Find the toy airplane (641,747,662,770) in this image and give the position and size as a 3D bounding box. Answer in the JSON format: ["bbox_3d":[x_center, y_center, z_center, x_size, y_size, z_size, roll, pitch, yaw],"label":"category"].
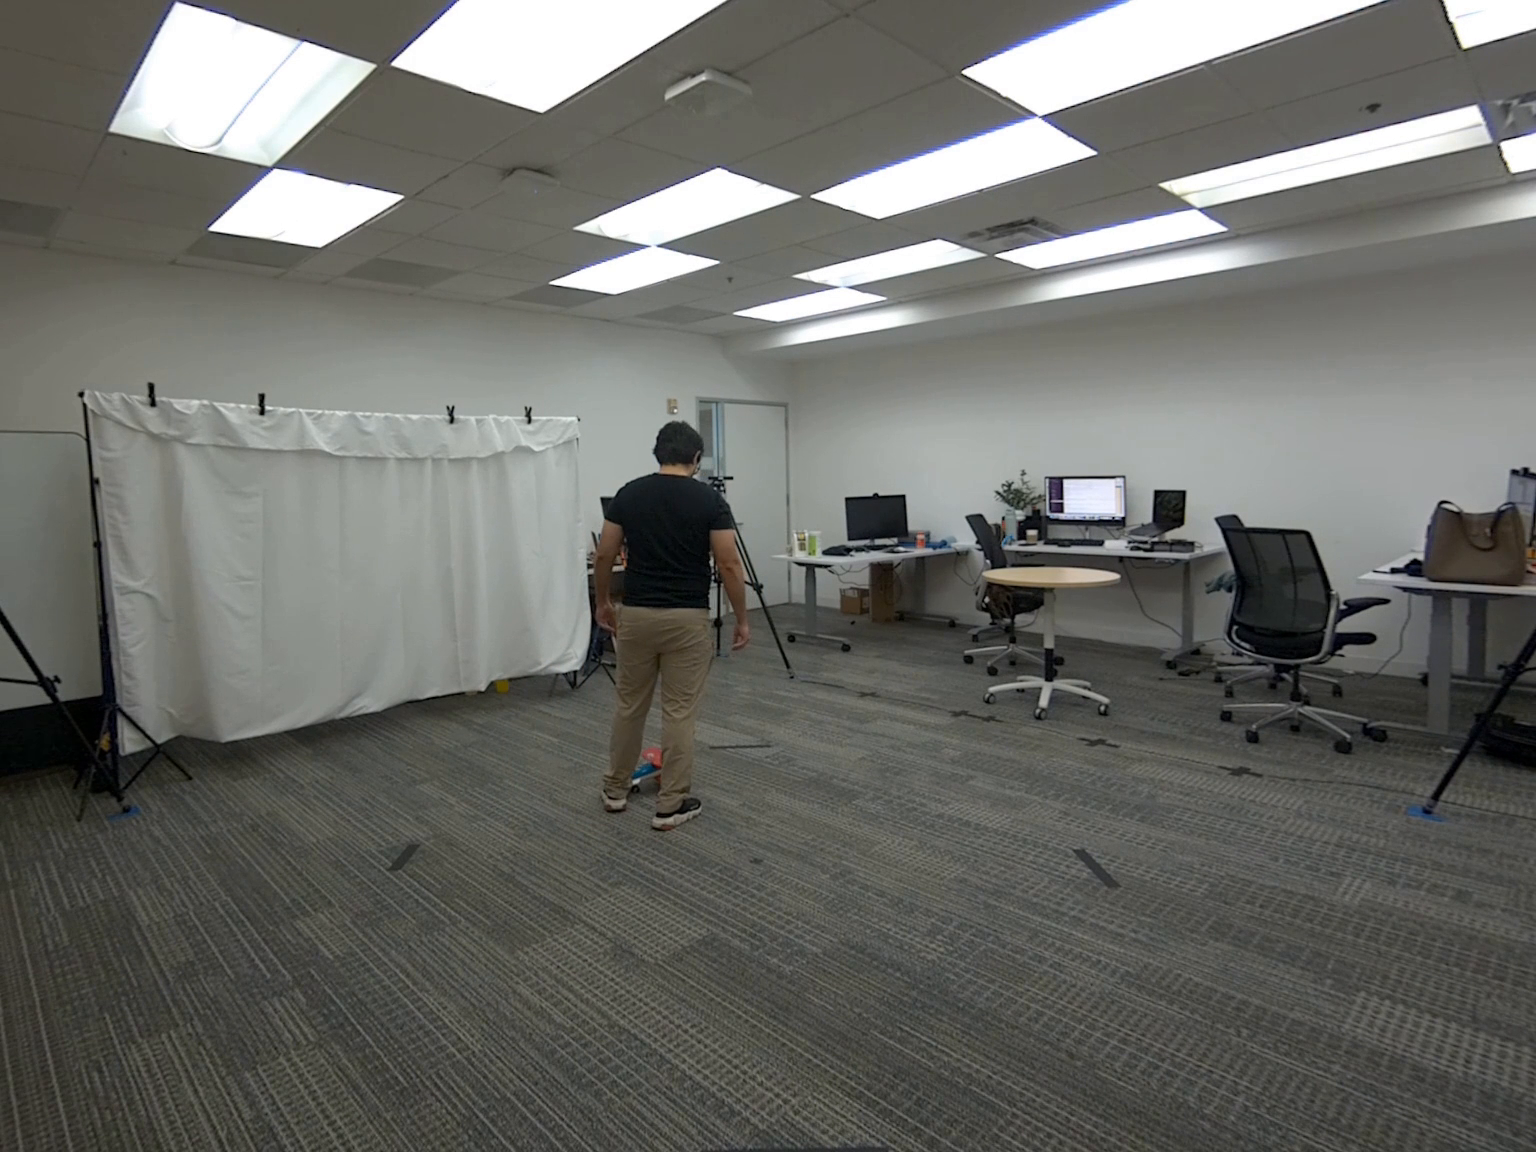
[{"bbox_3d":[-0.506,0.887,3.855,0.258,0.156,0.253,1,4,31],"label":"toy airplane"}]
